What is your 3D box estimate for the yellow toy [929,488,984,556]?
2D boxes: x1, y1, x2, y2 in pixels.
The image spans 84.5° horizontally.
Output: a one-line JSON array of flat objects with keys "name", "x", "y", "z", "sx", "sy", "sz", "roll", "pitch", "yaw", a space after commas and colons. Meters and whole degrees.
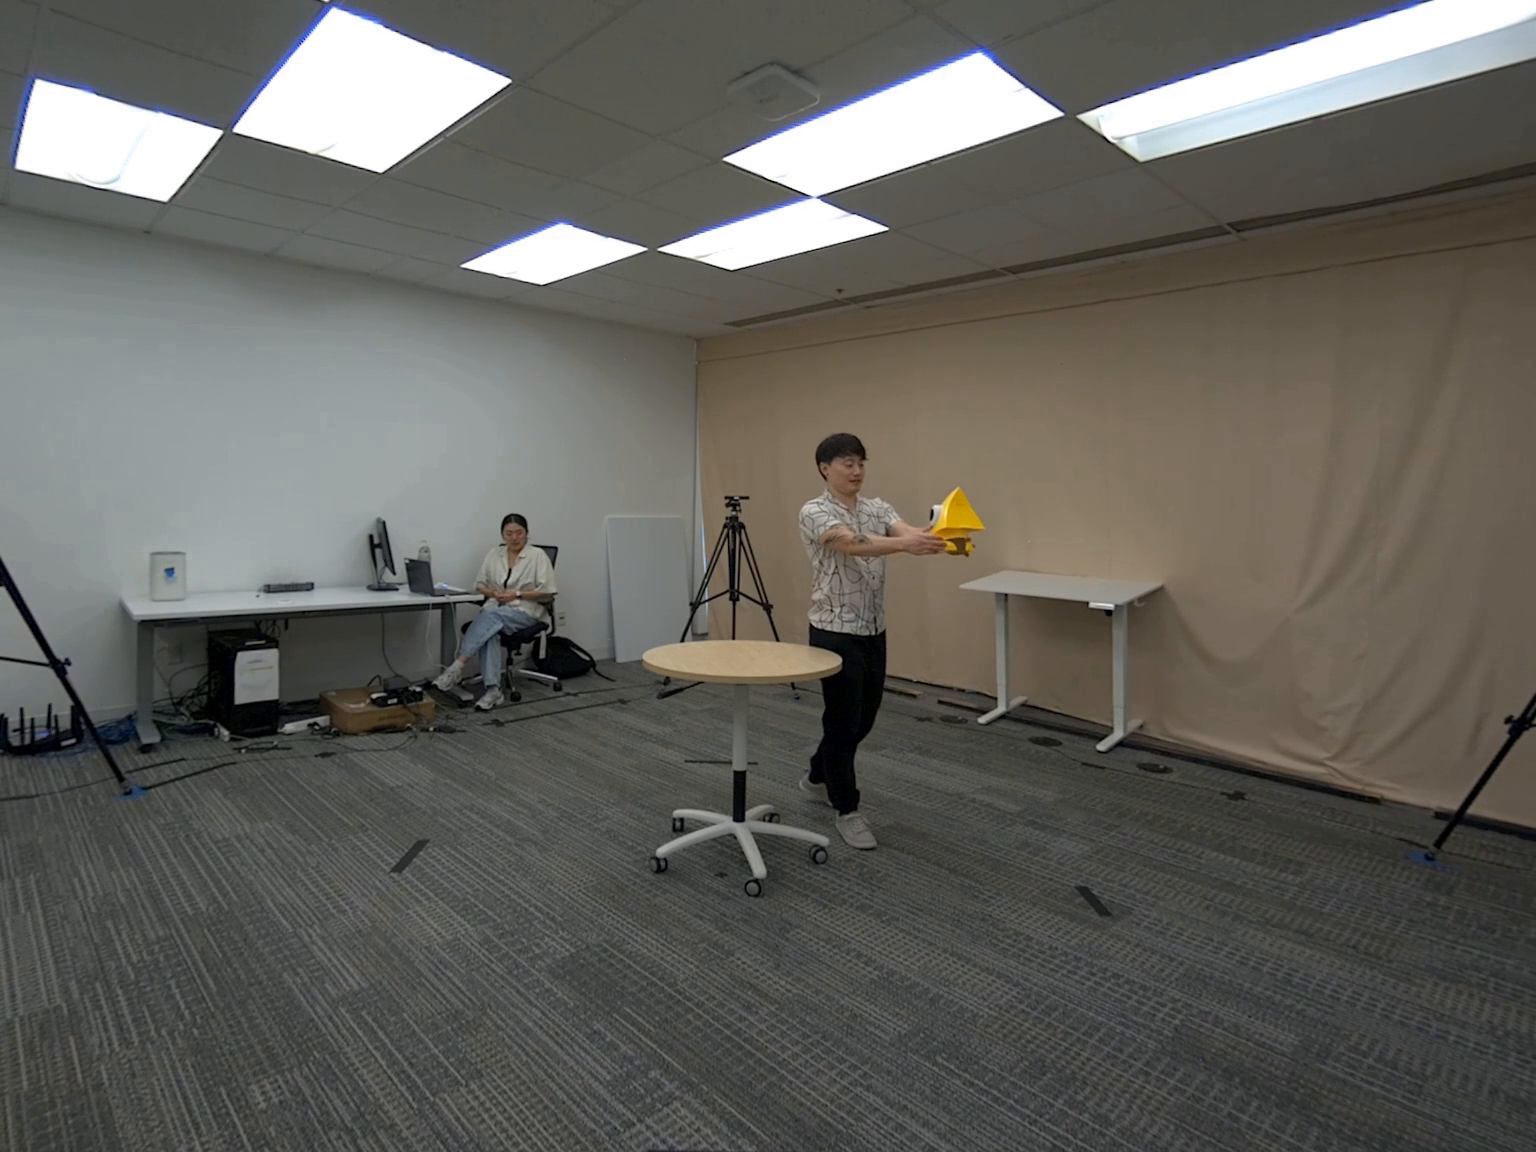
[{"name": "yellow toy", "x": 0.647, "y": -0.202, "z": 3.100, "sx": 0.200, "sy": 0.231, "sz": 0.197, "roll": 0, "pitch": 0, "yaw": -34}]
